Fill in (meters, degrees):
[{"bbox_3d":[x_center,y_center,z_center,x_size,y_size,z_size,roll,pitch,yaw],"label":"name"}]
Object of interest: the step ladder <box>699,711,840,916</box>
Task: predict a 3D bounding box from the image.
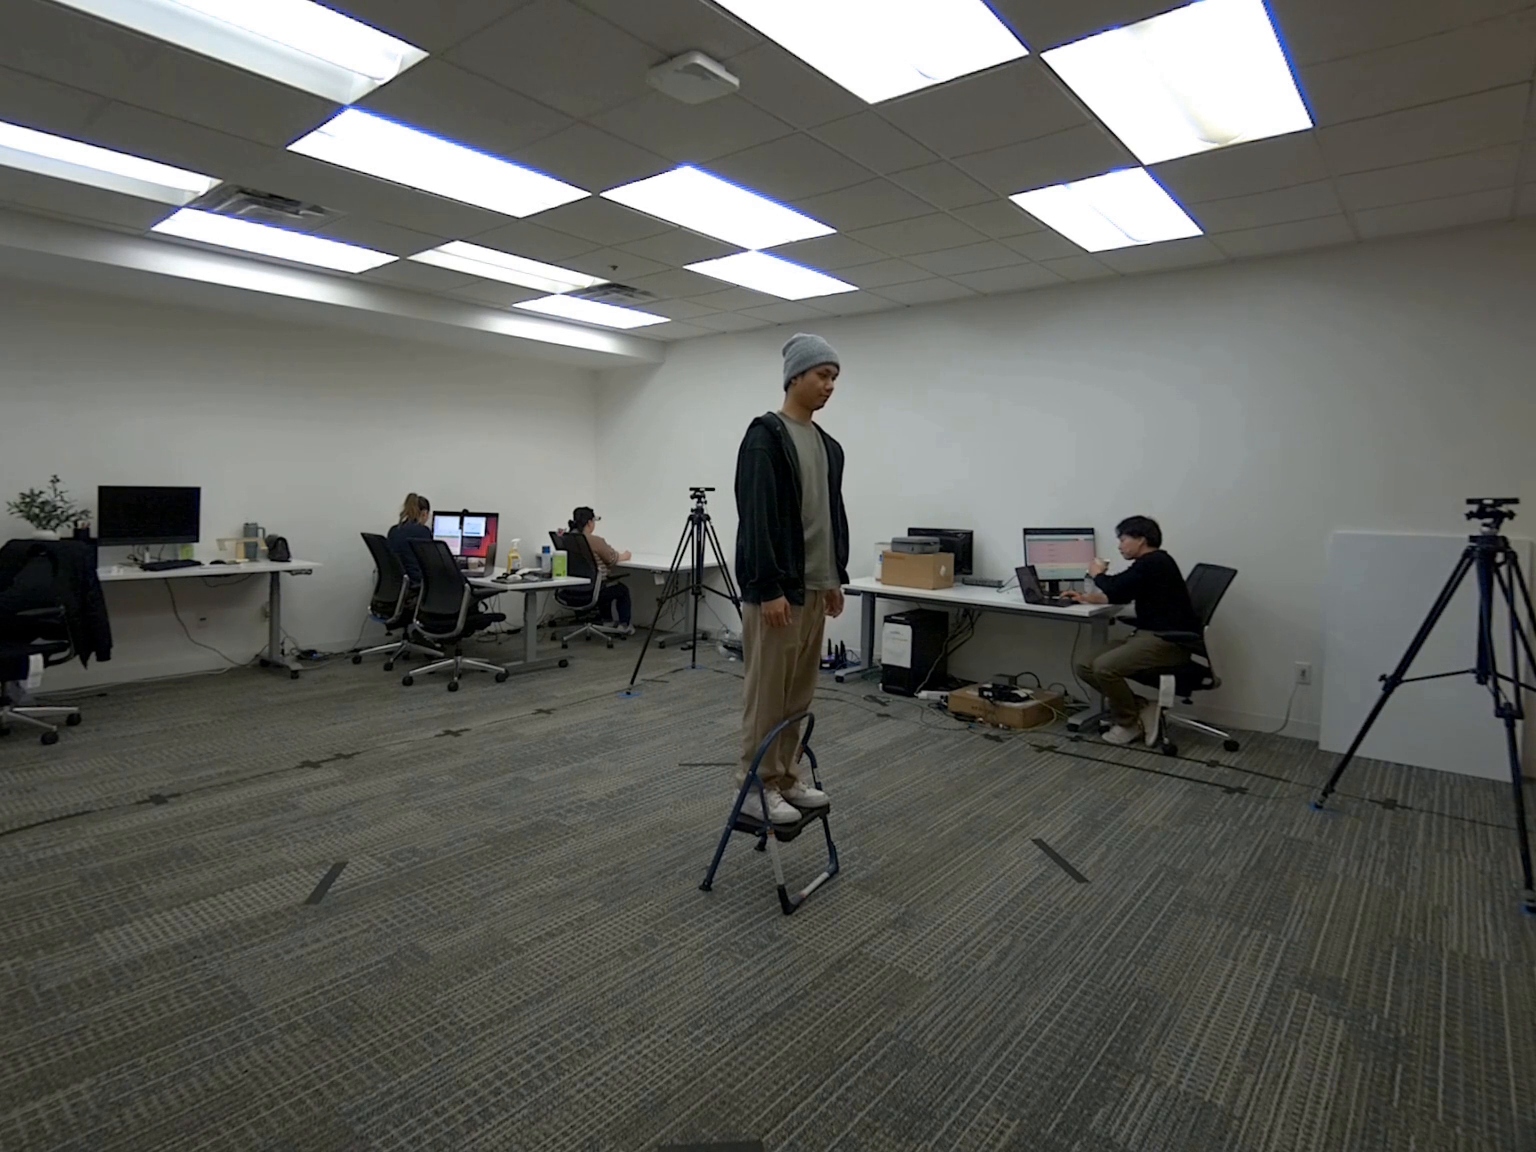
[{"bbox_3d":[0.016,0.777,3.016,0.359,0.604,0.420,4,5,29],"label":"step ladder"}]
